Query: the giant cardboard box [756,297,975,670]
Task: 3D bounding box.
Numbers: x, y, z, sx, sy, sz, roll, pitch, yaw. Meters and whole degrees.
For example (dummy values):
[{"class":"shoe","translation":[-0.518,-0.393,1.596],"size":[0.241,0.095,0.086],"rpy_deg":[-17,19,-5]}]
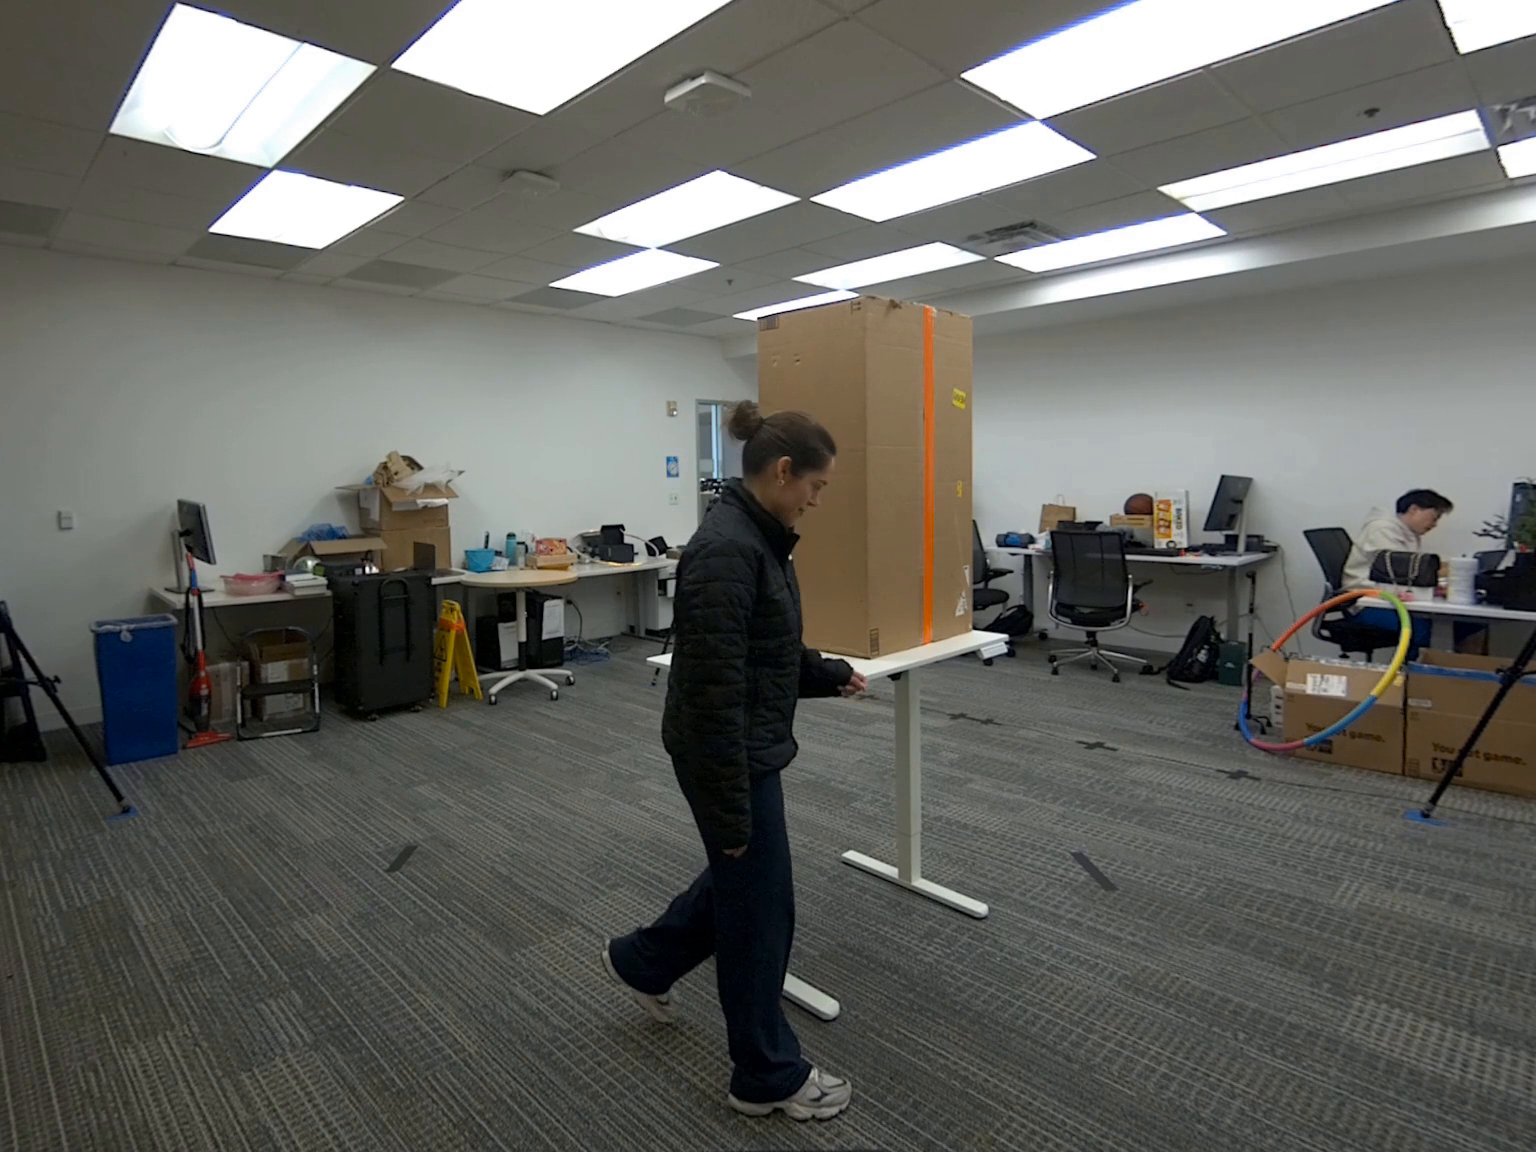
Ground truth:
[{"class":"giant cardboard box","translation":[0.322,-0.311,2.738],"size":[0.439,1.022,0.562],"rpy_deg":[3,6,44]}]
